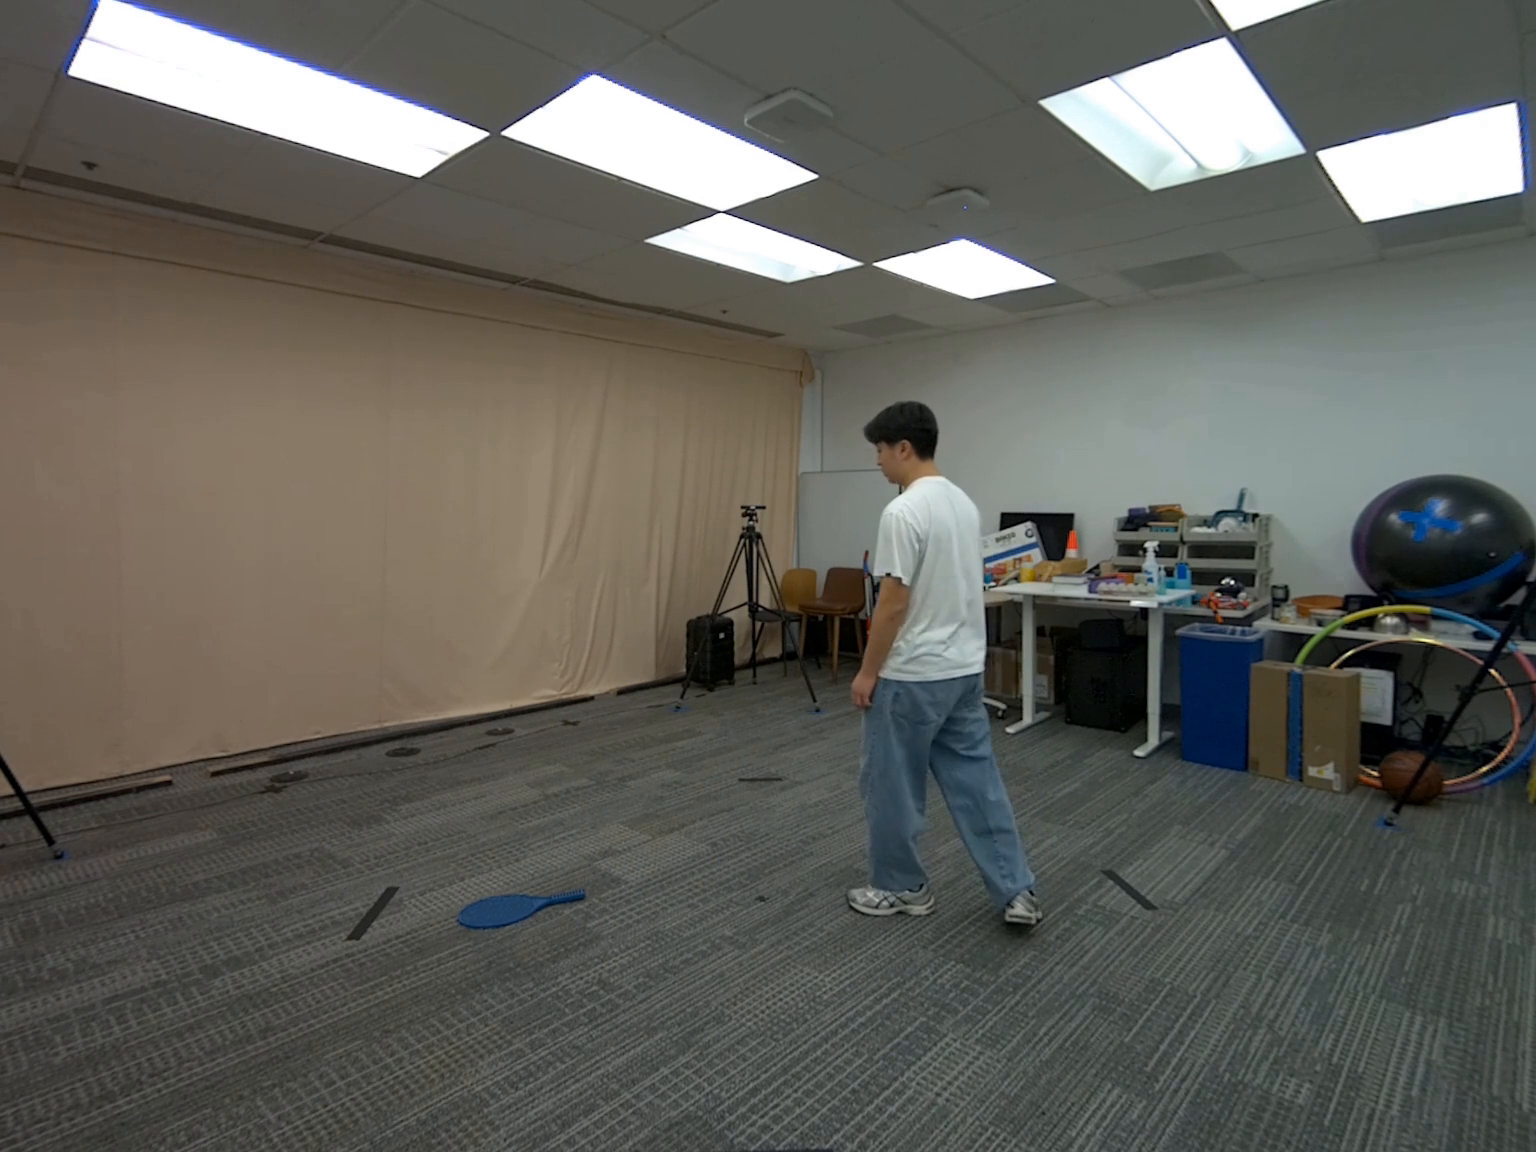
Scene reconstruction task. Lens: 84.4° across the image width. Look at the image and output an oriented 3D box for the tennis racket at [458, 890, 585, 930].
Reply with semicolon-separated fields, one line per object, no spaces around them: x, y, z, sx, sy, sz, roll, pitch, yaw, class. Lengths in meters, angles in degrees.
-0.852;1.144;2.916;0.425;0.032;0.218;-4;5;-19;tennis racket
